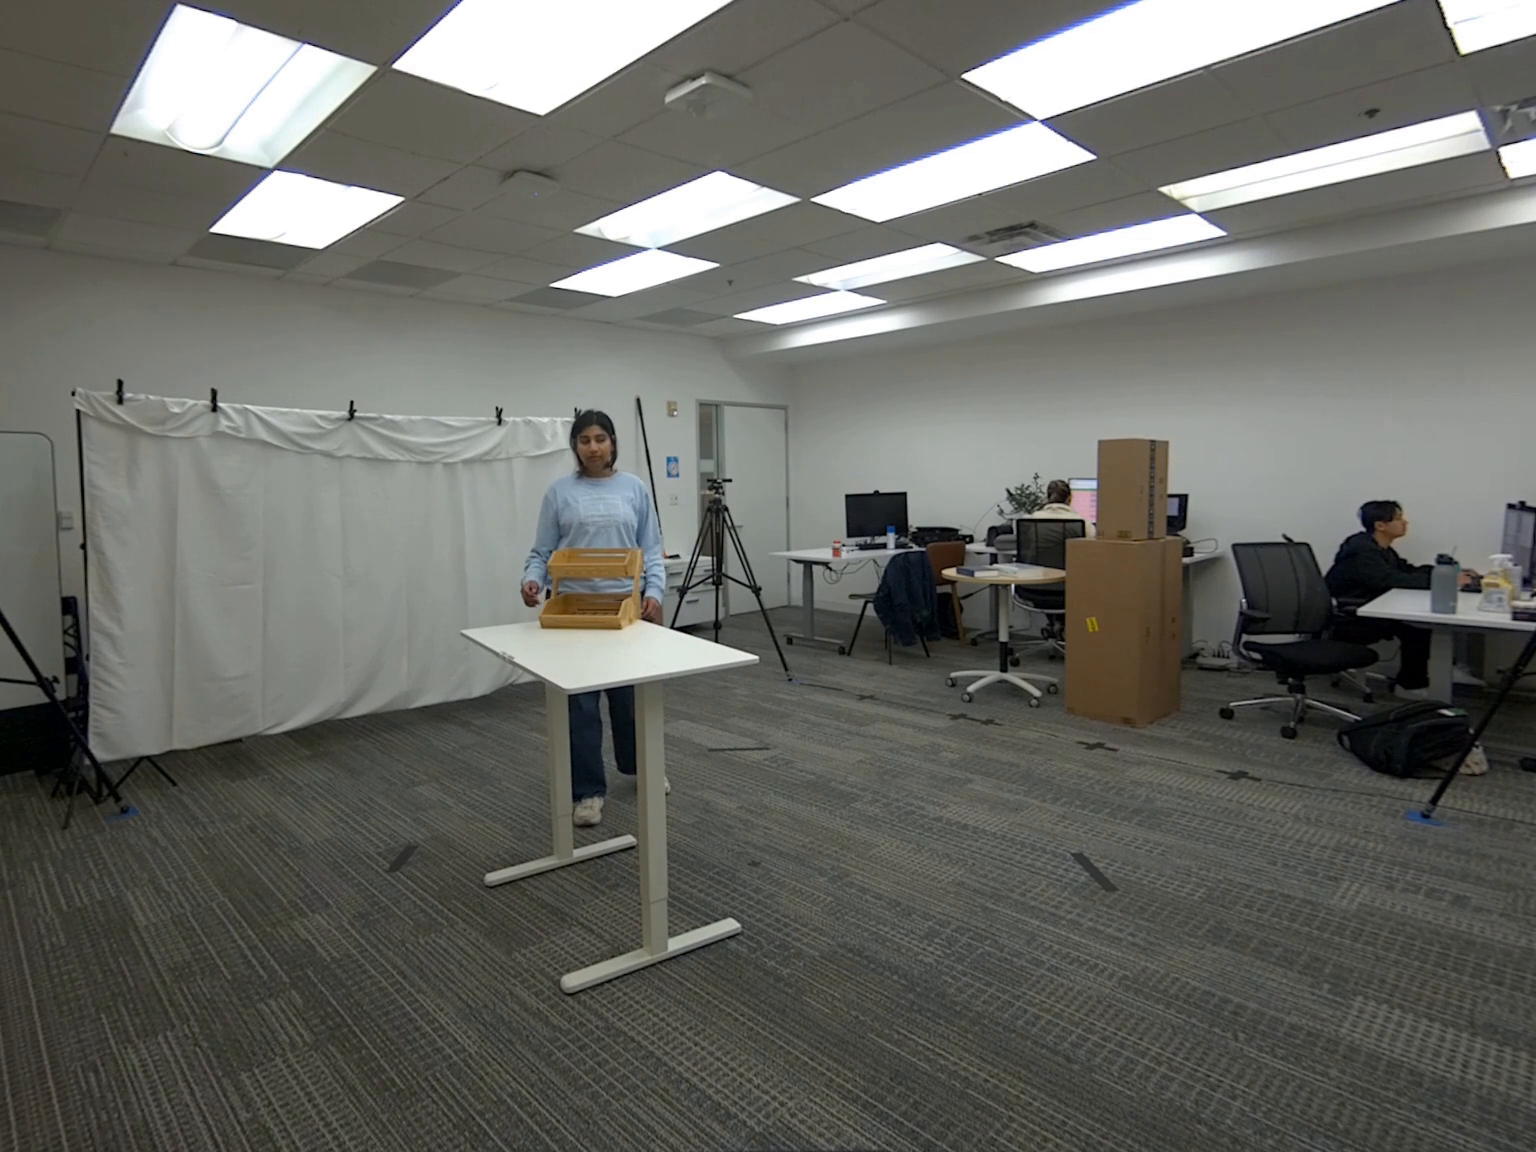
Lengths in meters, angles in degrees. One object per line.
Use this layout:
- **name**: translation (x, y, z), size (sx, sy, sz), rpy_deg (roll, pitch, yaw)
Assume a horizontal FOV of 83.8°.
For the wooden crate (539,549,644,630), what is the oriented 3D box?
- **wooden crate**: translation (-0.644, 0.040, 3.110), size (0.327, 0.272, 0.301), rpy_deg (-1, 5, 8)
